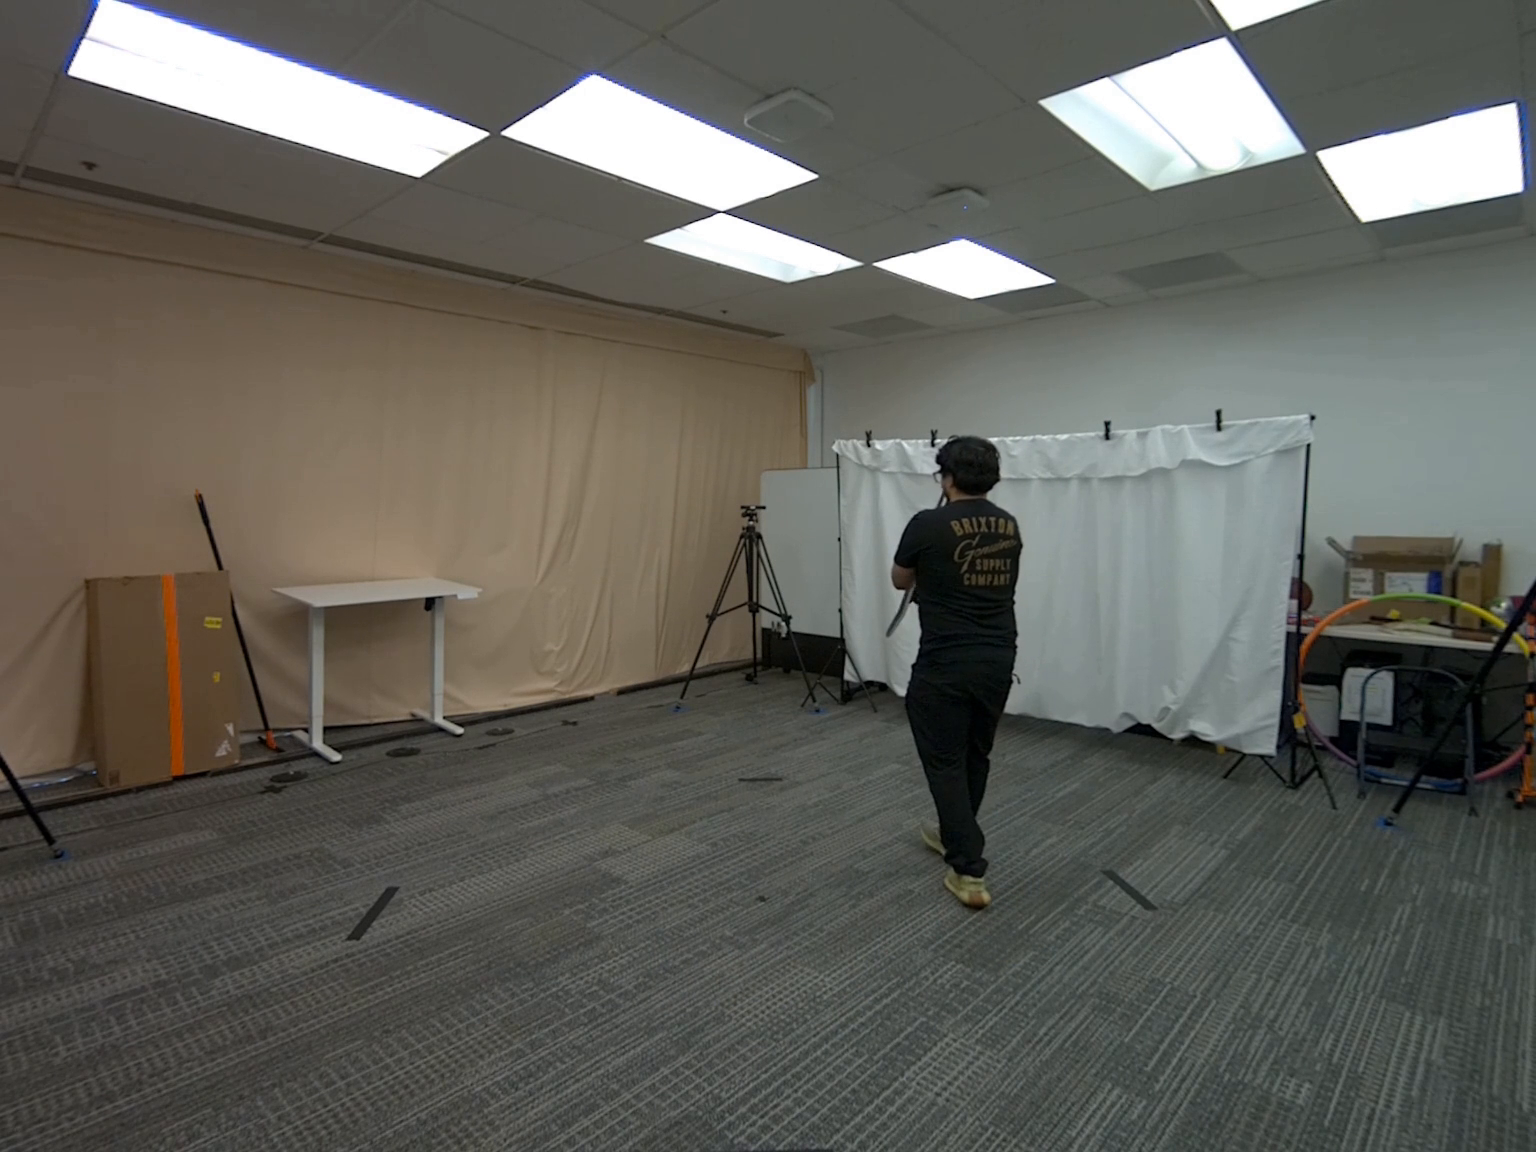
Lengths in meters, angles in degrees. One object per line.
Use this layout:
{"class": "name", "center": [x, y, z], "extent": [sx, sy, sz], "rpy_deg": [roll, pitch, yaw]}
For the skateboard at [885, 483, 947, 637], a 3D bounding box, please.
{"class": "skateboard", "center": [0.680, -0.094, 3.541], "extent": [0.111, 0.785, 0.193], "rpy_deg": [20, -1, 2]}
